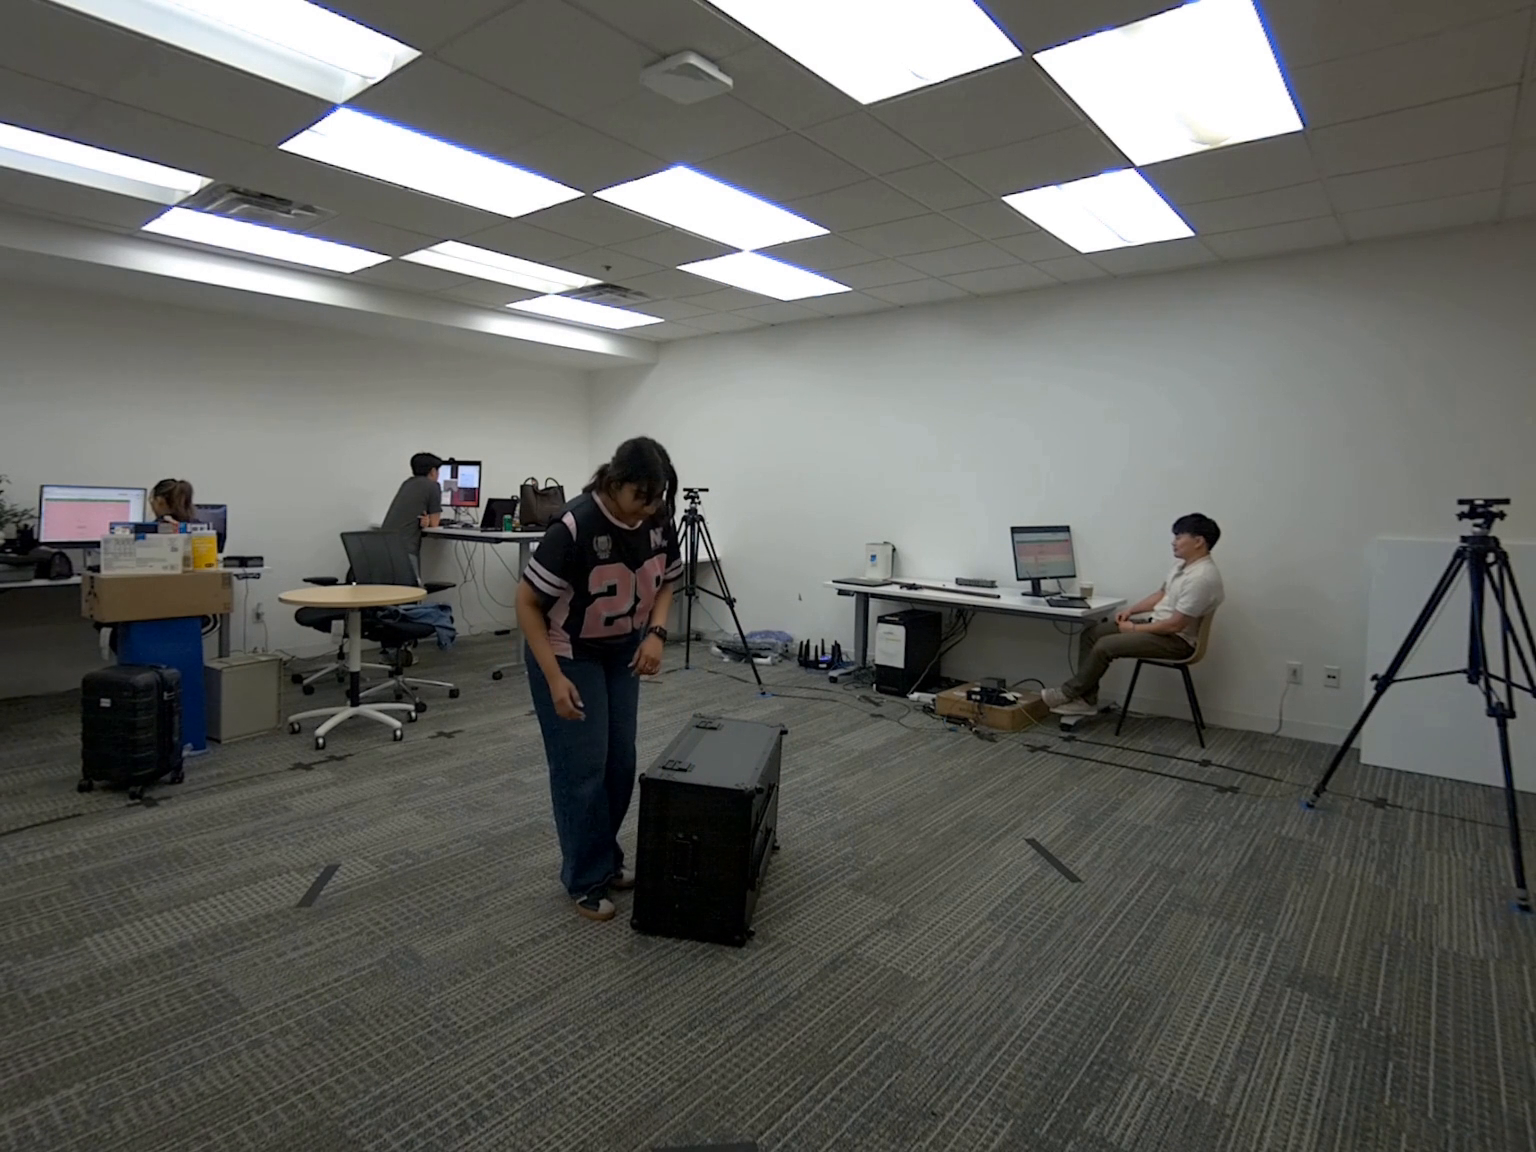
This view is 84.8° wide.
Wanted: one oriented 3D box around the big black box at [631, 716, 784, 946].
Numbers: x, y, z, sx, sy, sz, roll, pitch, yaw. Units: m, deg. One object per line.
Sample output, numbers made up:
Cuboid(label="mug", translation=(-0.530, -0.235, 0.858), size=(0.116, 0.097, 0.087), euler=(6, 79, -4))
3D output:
Cuboid(label="big black box", translation=(-0.180, 0.824, 3.006), size=(0.389, 0.521, 0.862), euler=(2, 5, 8))
